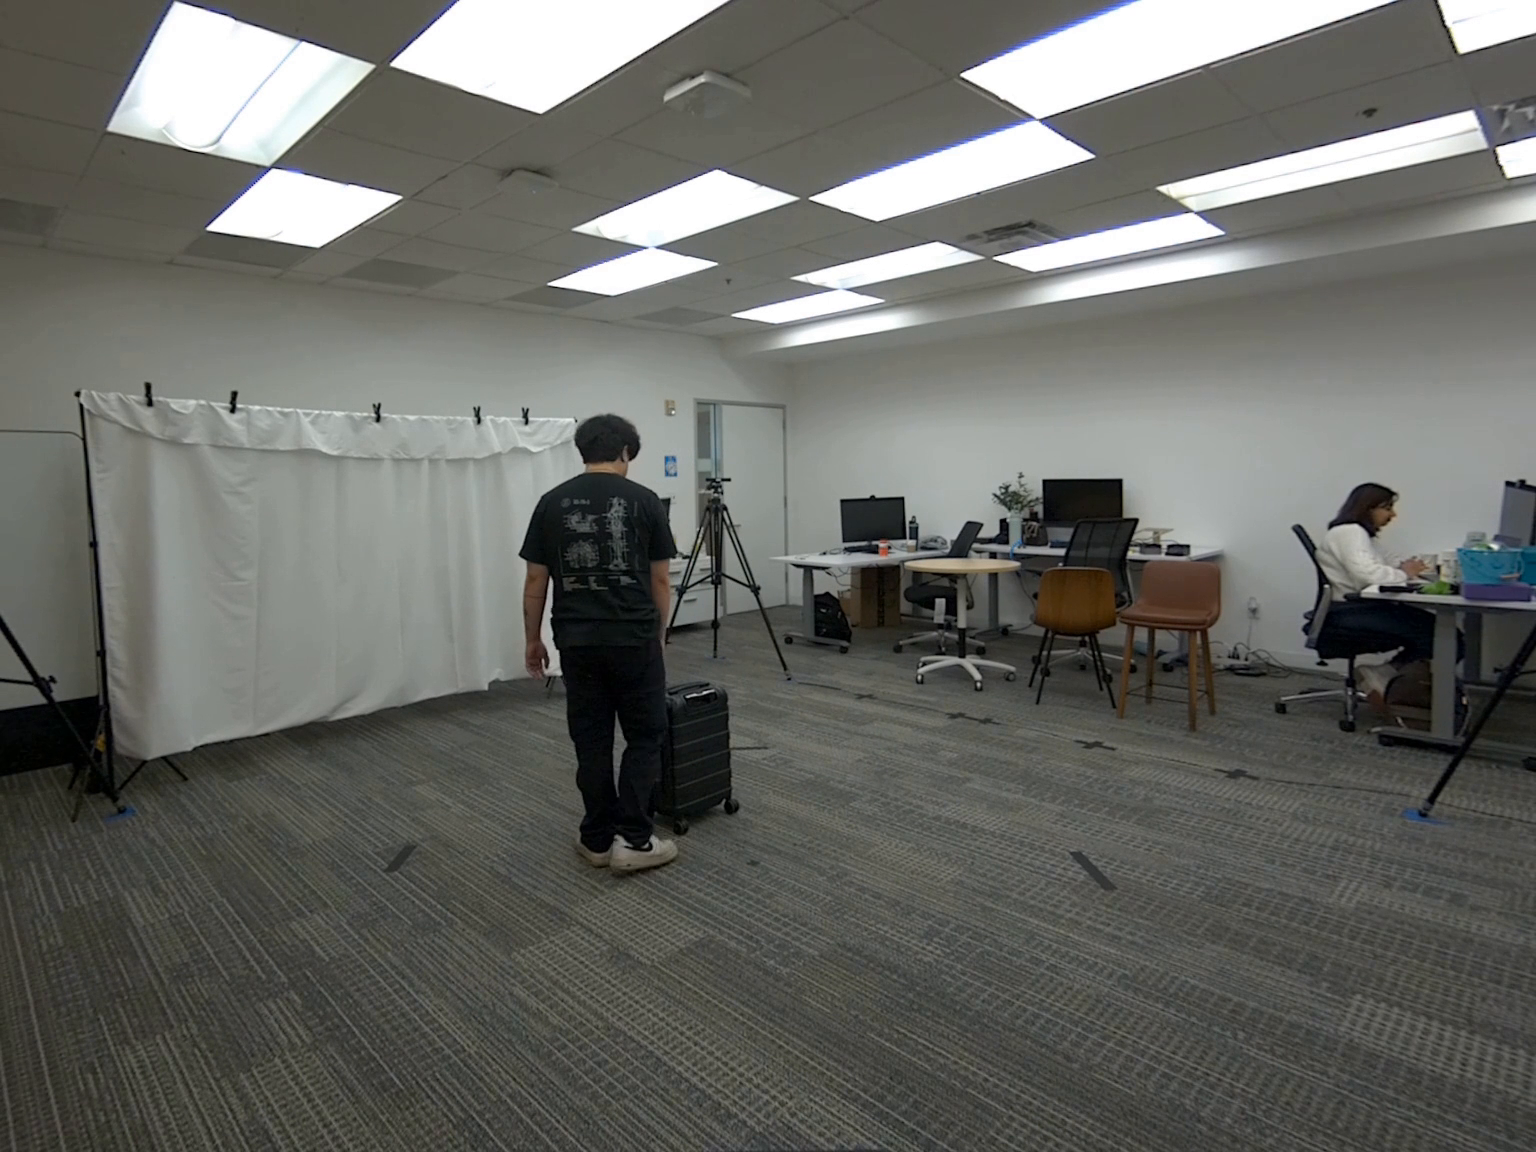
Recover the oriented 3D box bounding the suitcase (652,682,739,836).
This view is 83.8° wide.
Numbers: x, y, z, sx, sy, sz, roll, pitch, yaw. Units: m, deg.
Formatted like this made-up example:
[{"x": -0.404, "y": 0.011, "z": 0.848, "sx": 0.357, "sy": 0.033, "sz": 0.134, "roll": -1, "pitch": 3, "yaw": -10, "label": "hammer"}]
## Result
[{"x": -0.346, "y": 0.720, "z": 3.546, "sx": 0.255, "sy": 0.548, "sz": 0.365, "roll": 0, "pitch": 4, "yaw": 44, "label": "suitcase"}]
